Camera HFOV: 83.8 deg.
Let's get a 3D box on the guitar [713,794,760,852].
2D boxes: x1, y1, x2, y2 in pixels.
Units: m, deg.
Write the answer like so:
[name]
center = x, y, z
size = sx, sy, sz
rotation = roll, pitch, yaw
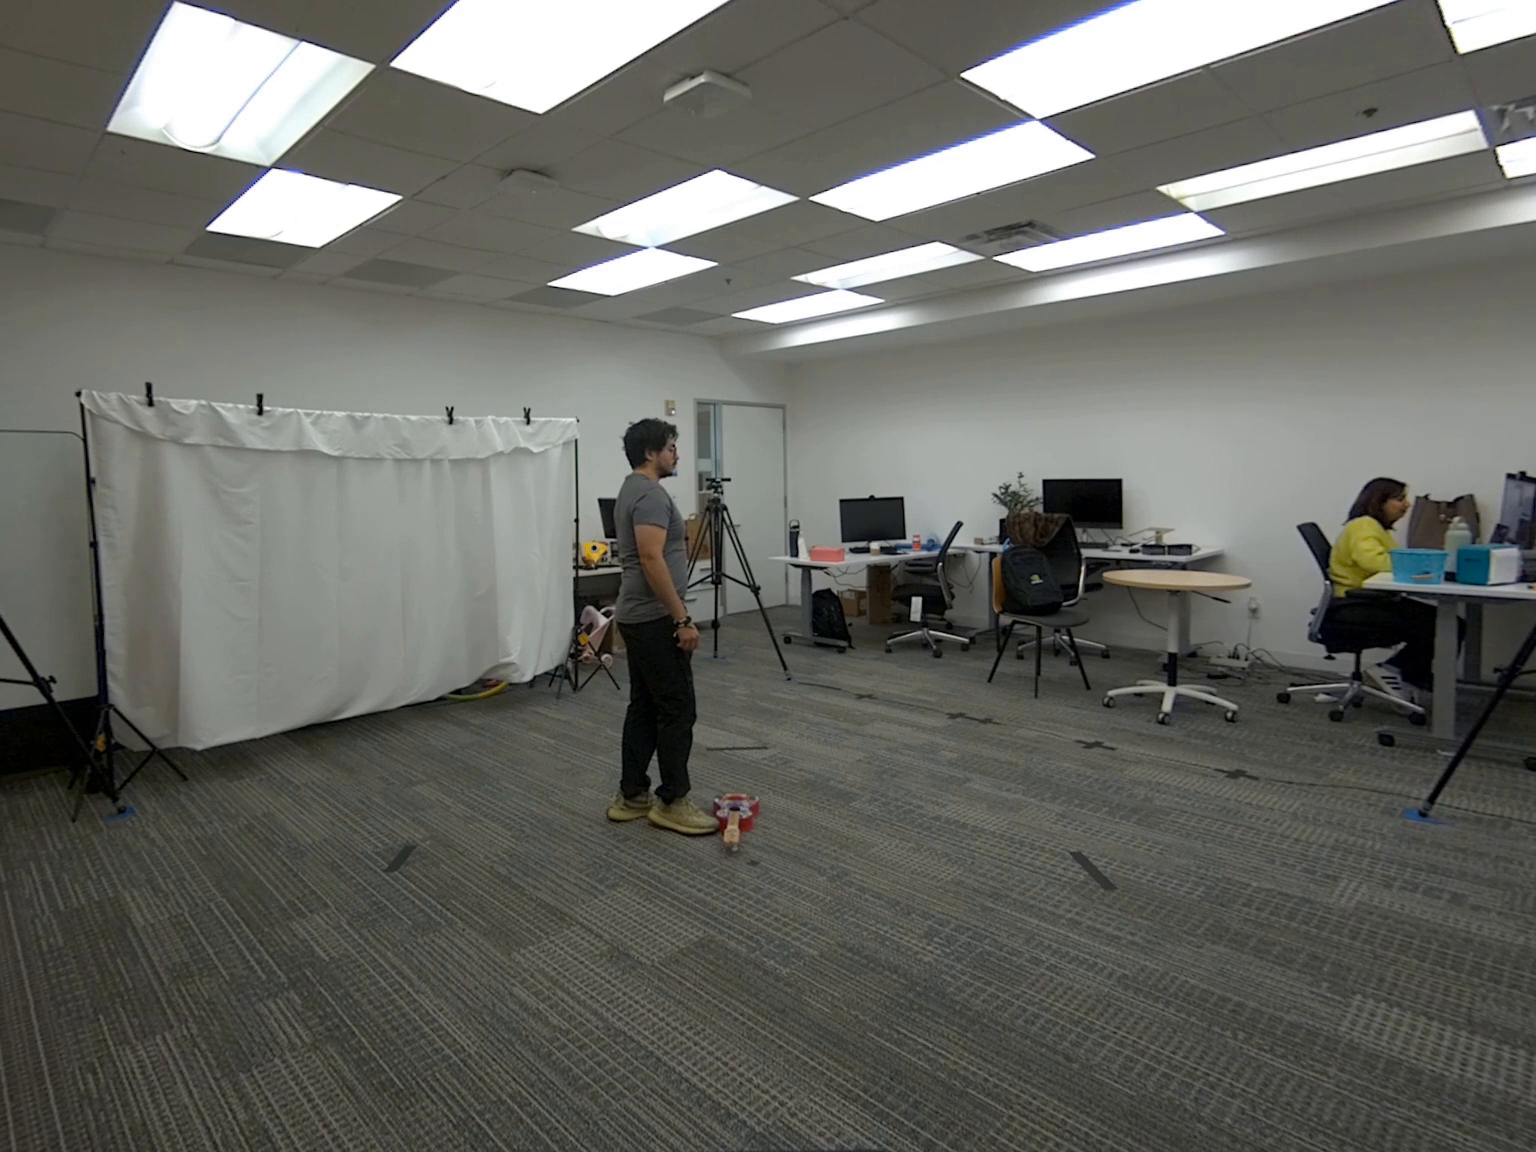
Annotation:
[guitar]
center = -0.166, 0.972, 3.383
size = 0.195, 0.070, 0.495
rotation = 1, 6, 9
